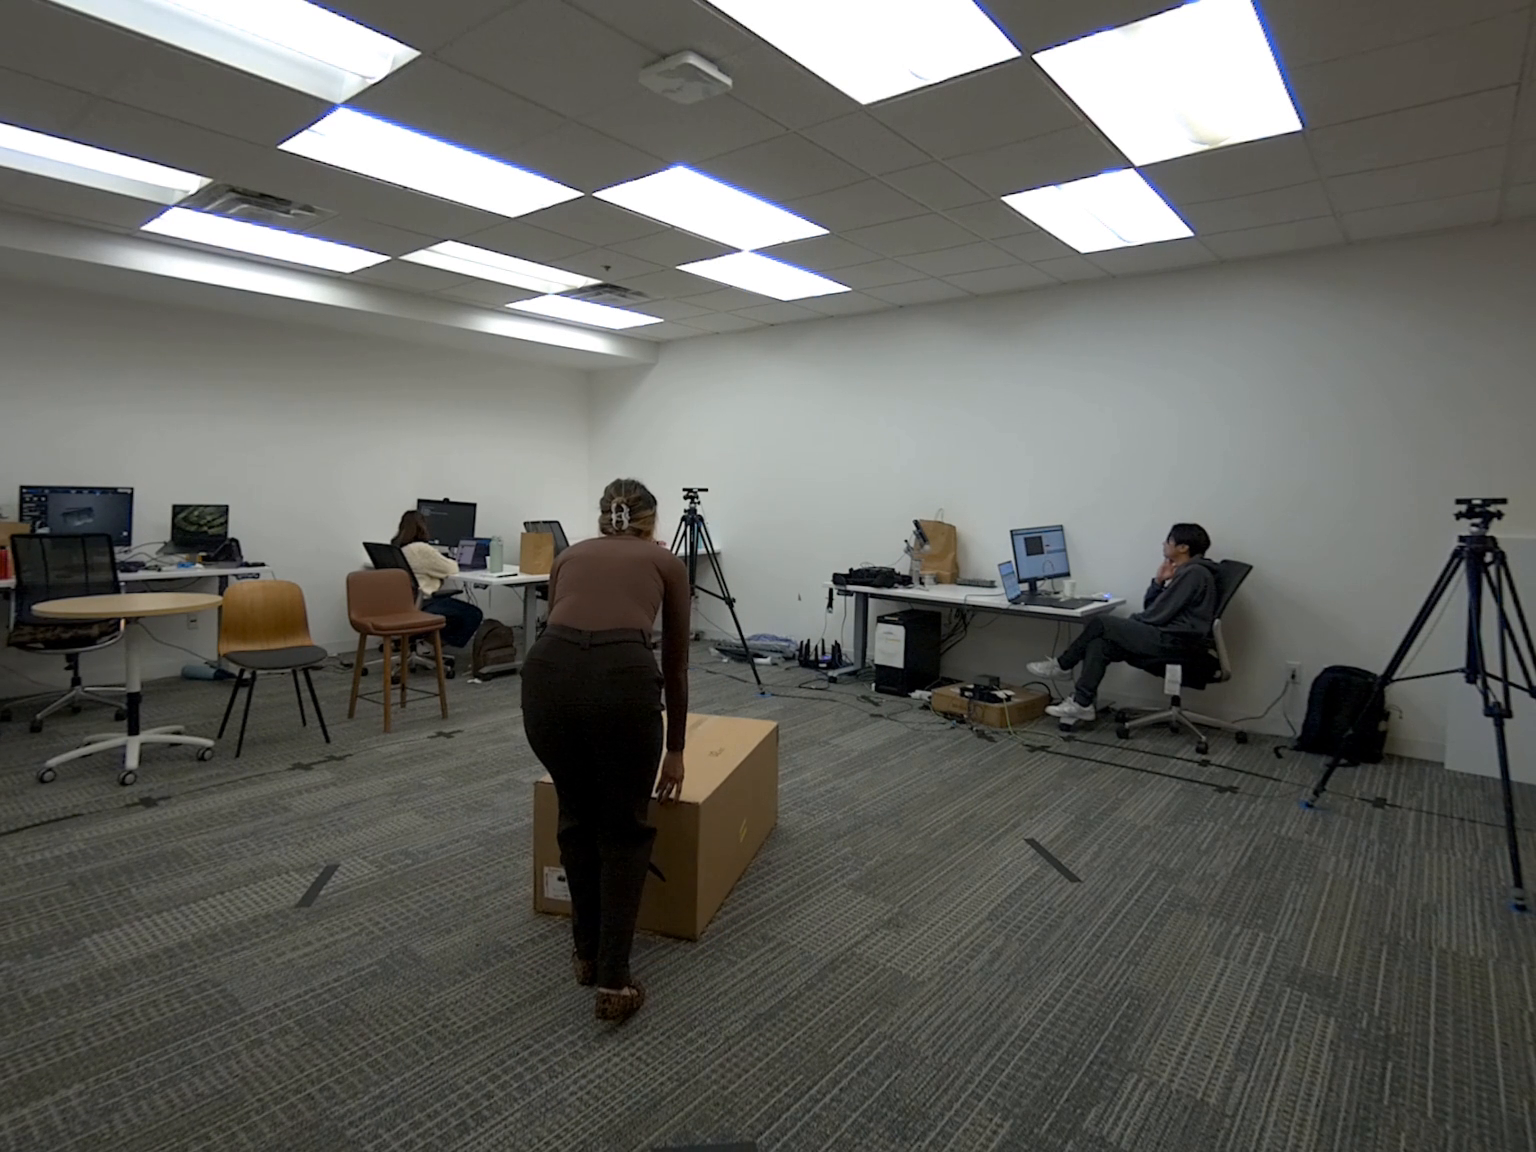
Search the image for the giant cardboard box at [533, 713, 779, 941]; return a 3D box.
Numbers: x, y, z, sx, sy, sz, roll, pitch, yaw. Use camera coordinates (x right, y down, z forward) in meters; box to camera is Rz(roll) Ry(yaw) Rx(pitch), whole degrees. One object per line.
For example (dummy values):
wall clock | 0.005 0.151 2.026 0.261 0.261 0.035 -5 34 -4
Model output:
giant cardboard box | -0.369 0.849 3.153 0.595 0.445 1.013 3 6 16
